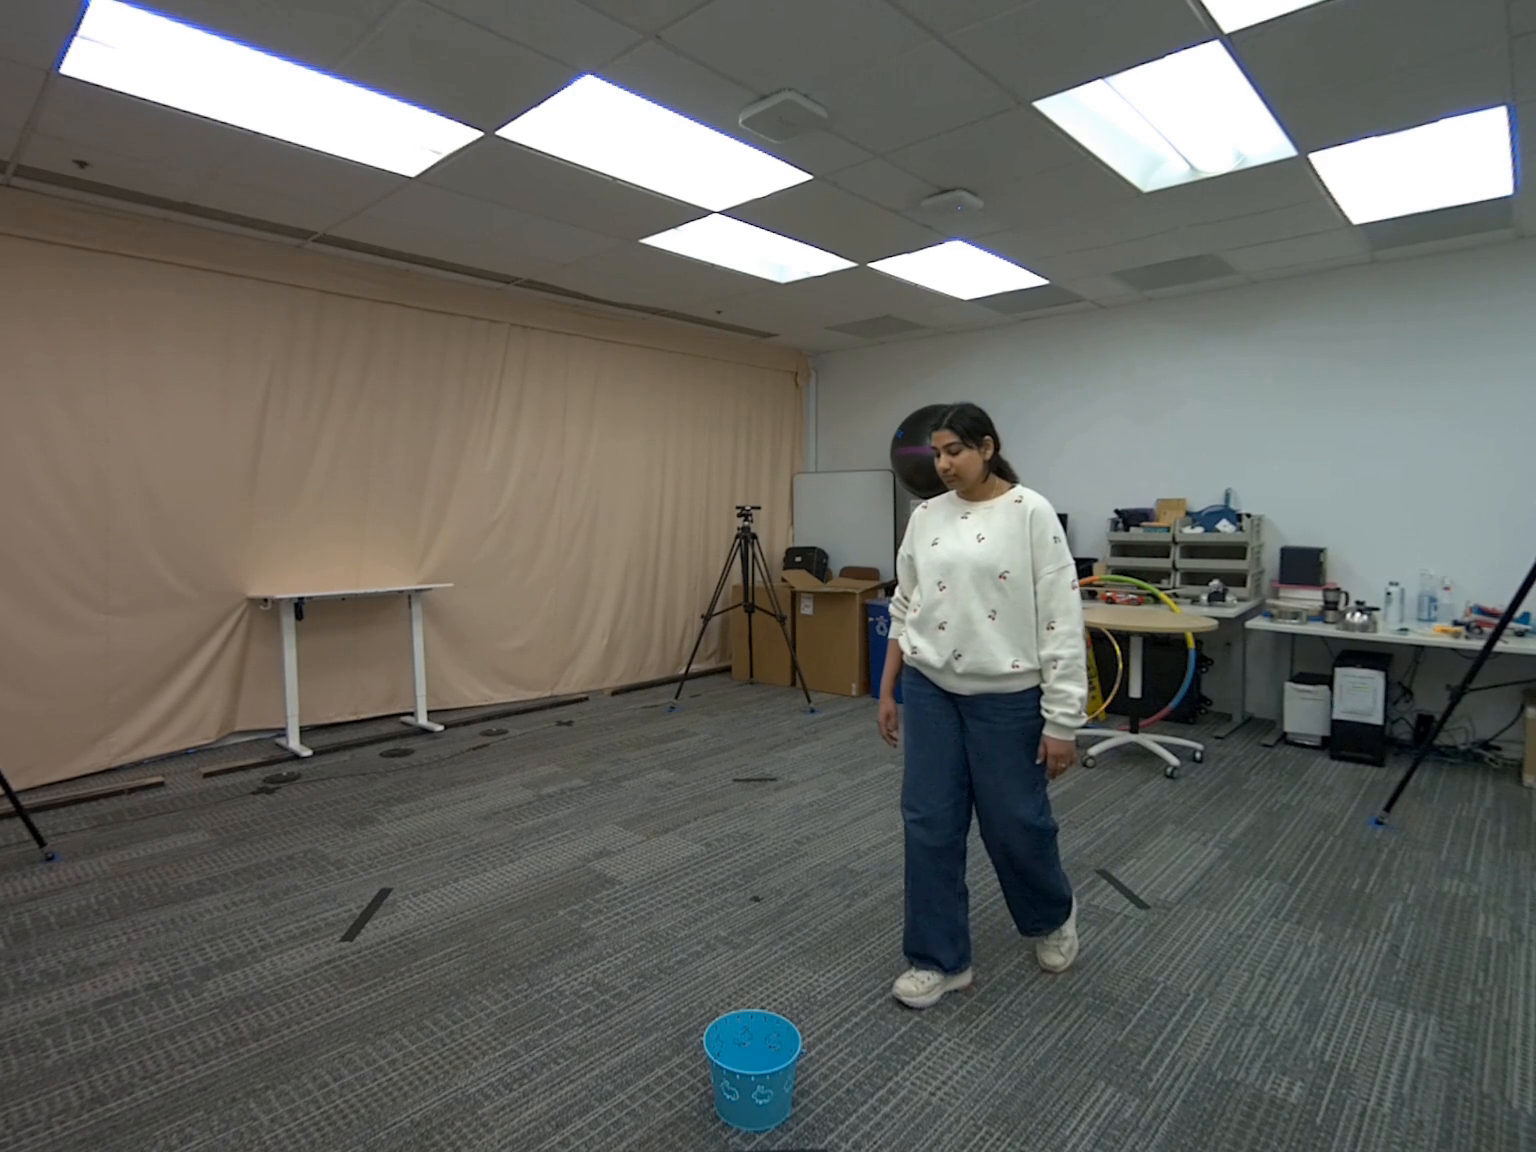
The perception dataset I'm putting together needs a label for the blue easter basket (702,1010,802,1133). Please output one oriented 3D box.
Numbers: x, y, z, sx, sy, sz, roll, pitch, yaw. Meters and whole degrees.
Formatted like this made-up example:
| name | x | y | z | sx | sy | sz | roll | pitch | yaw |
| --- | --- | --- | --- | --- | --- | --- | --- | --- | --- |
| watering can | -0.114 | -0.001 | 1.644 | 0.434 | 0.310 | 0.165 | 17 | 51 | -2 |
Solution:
| name | x | y | z | sx | sy | sz | roll | pitch | yaw |
| --- | --- | --- | --- | --- | --- | --- | --- | --- | --- |
| blue easter basket | -0.040 | 1.155 | 1.960 | 0.243 | 0.155 | 0.244 | 0 | 4 | -2 |
